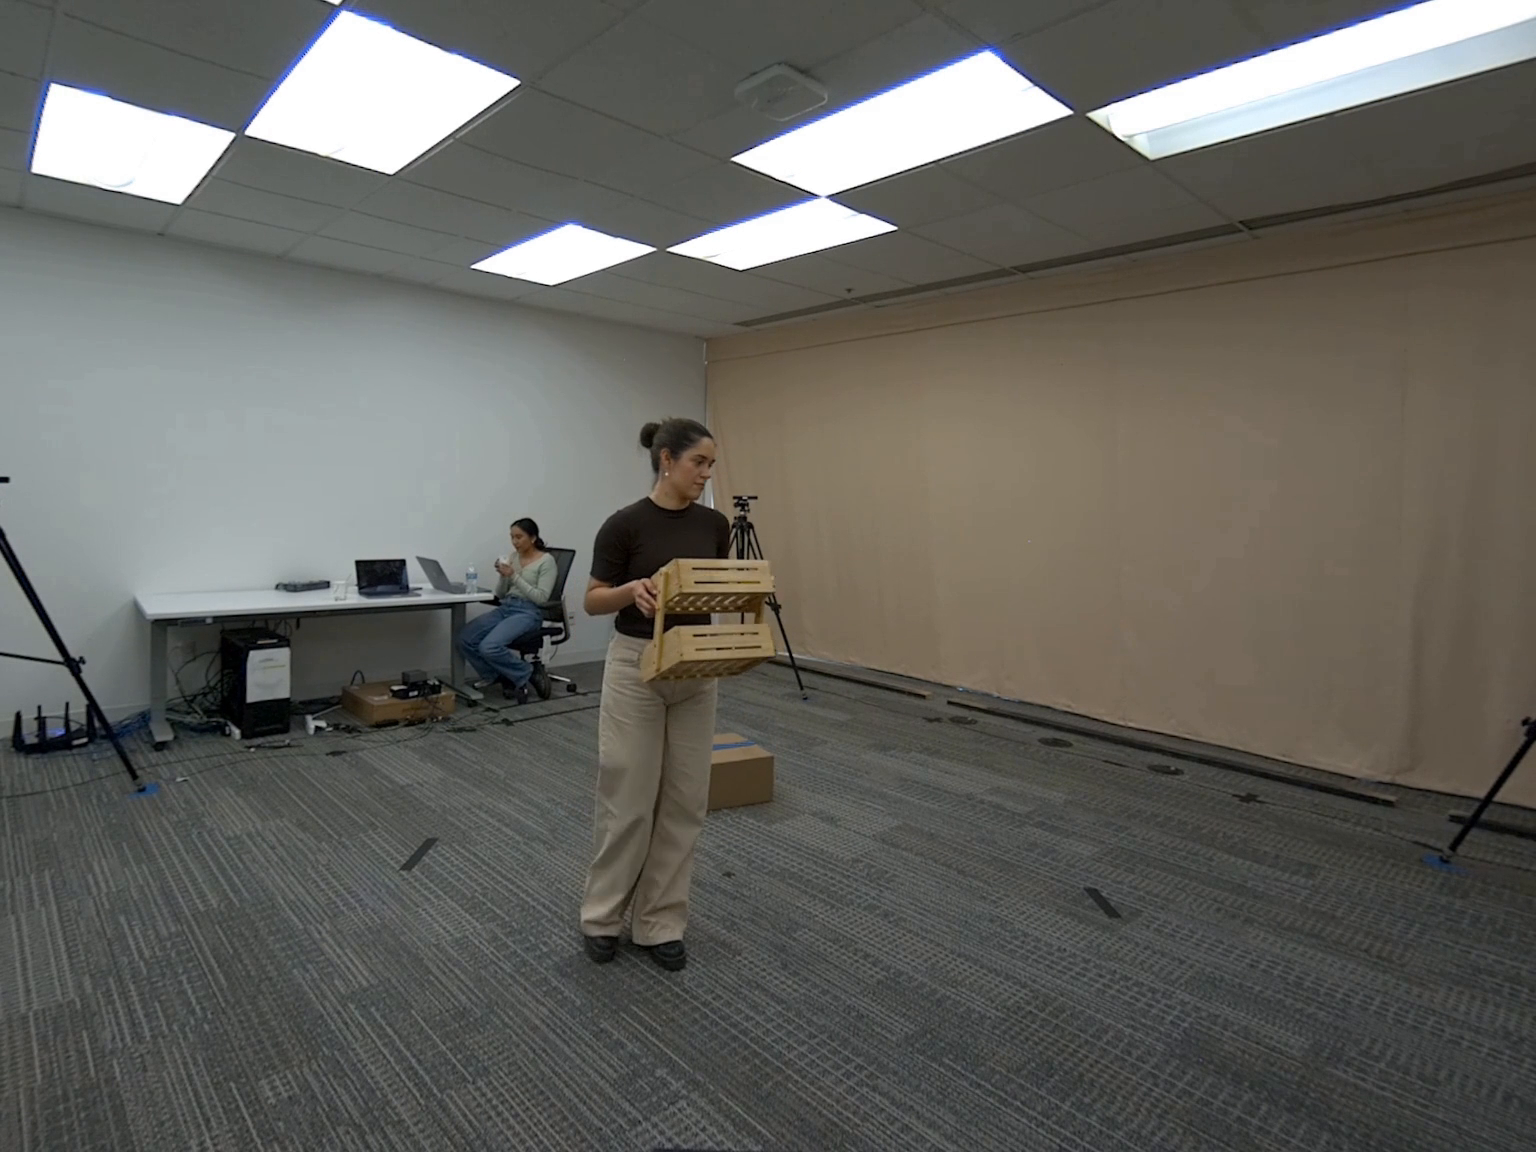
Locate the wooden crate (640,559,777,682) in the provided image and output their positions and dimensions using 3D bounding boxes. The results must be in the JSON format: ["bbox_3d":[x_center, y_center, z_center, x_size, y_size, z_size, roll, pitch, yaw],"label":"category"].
[{"bbox_3d":[-0.183,0.128,2.335,0.317,0.277,0.304,0,-20,-33],"label":"wooden crate"}]
